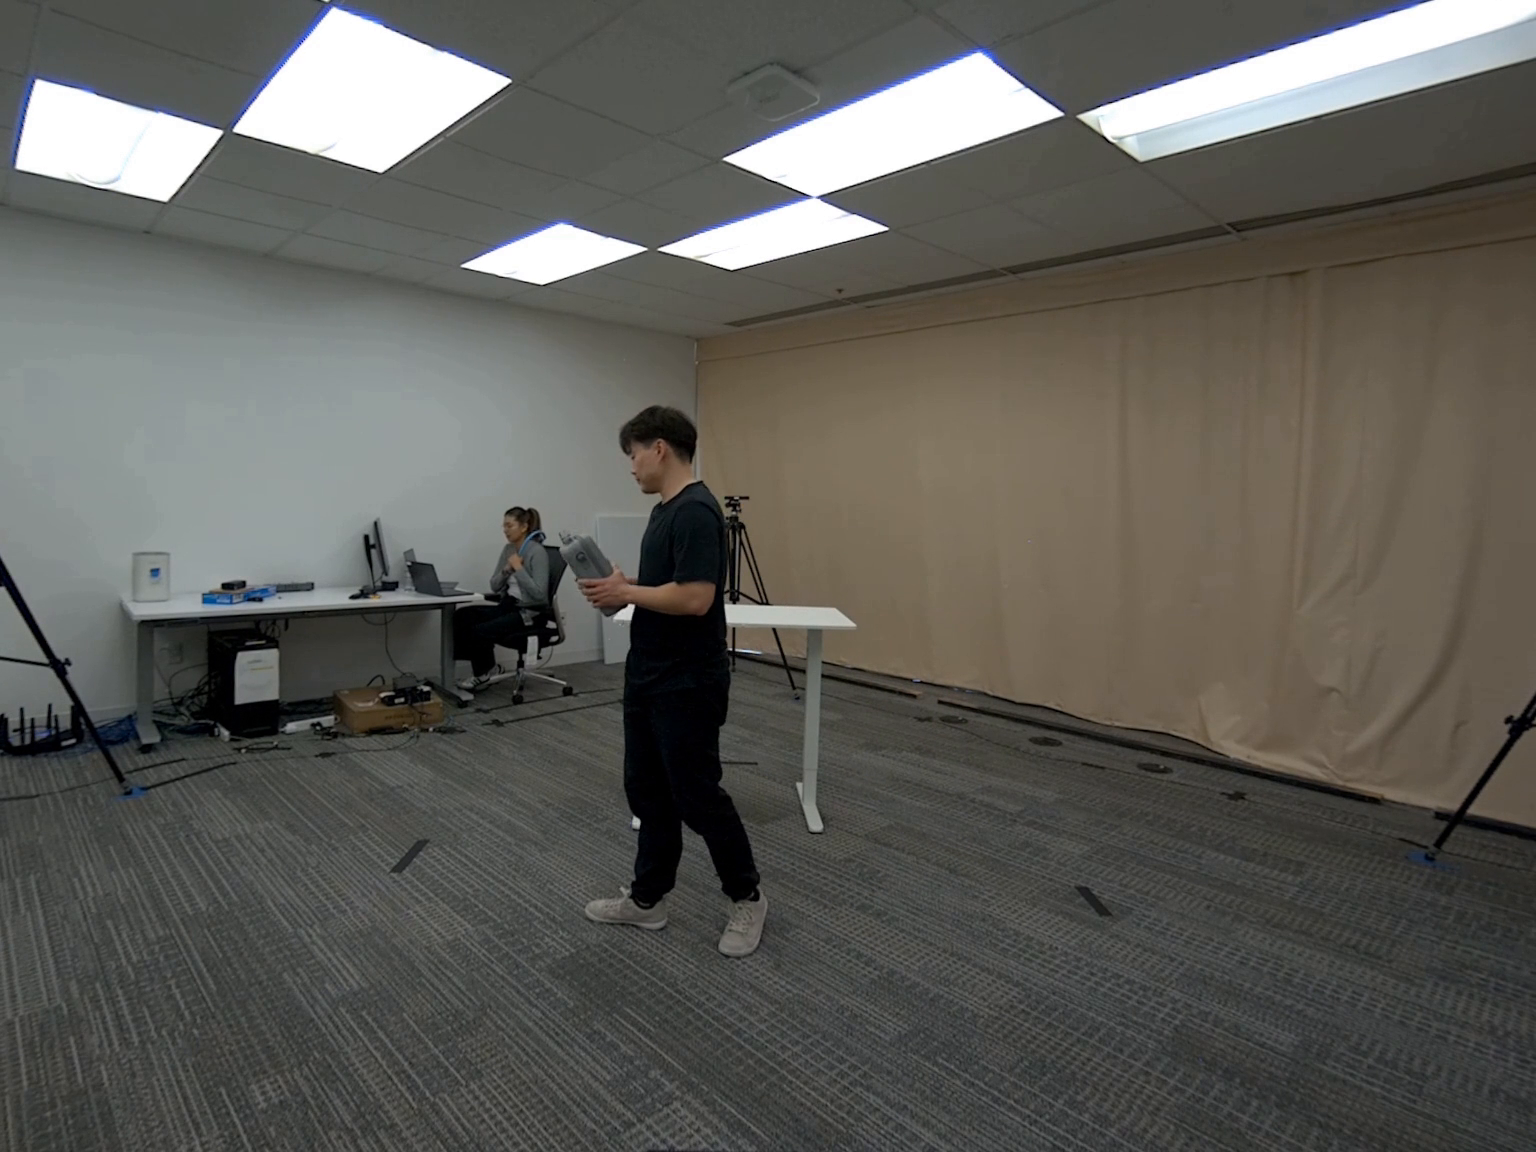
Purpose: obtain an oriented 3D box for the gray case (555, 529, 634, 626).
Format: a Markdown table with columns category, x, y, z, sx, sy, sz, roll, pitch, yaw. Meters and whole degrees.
| category | x | y | z | sx | sy | sz | roll | pitch | yaw |
| --- | --- | --- | --- | --- | --- | --- | --- | --- | --- |
| gray case | -0.535 | -0.003 | 2.605 | 0.104 | 0.258 | 0.260 | -34 | 11 | -10 |
